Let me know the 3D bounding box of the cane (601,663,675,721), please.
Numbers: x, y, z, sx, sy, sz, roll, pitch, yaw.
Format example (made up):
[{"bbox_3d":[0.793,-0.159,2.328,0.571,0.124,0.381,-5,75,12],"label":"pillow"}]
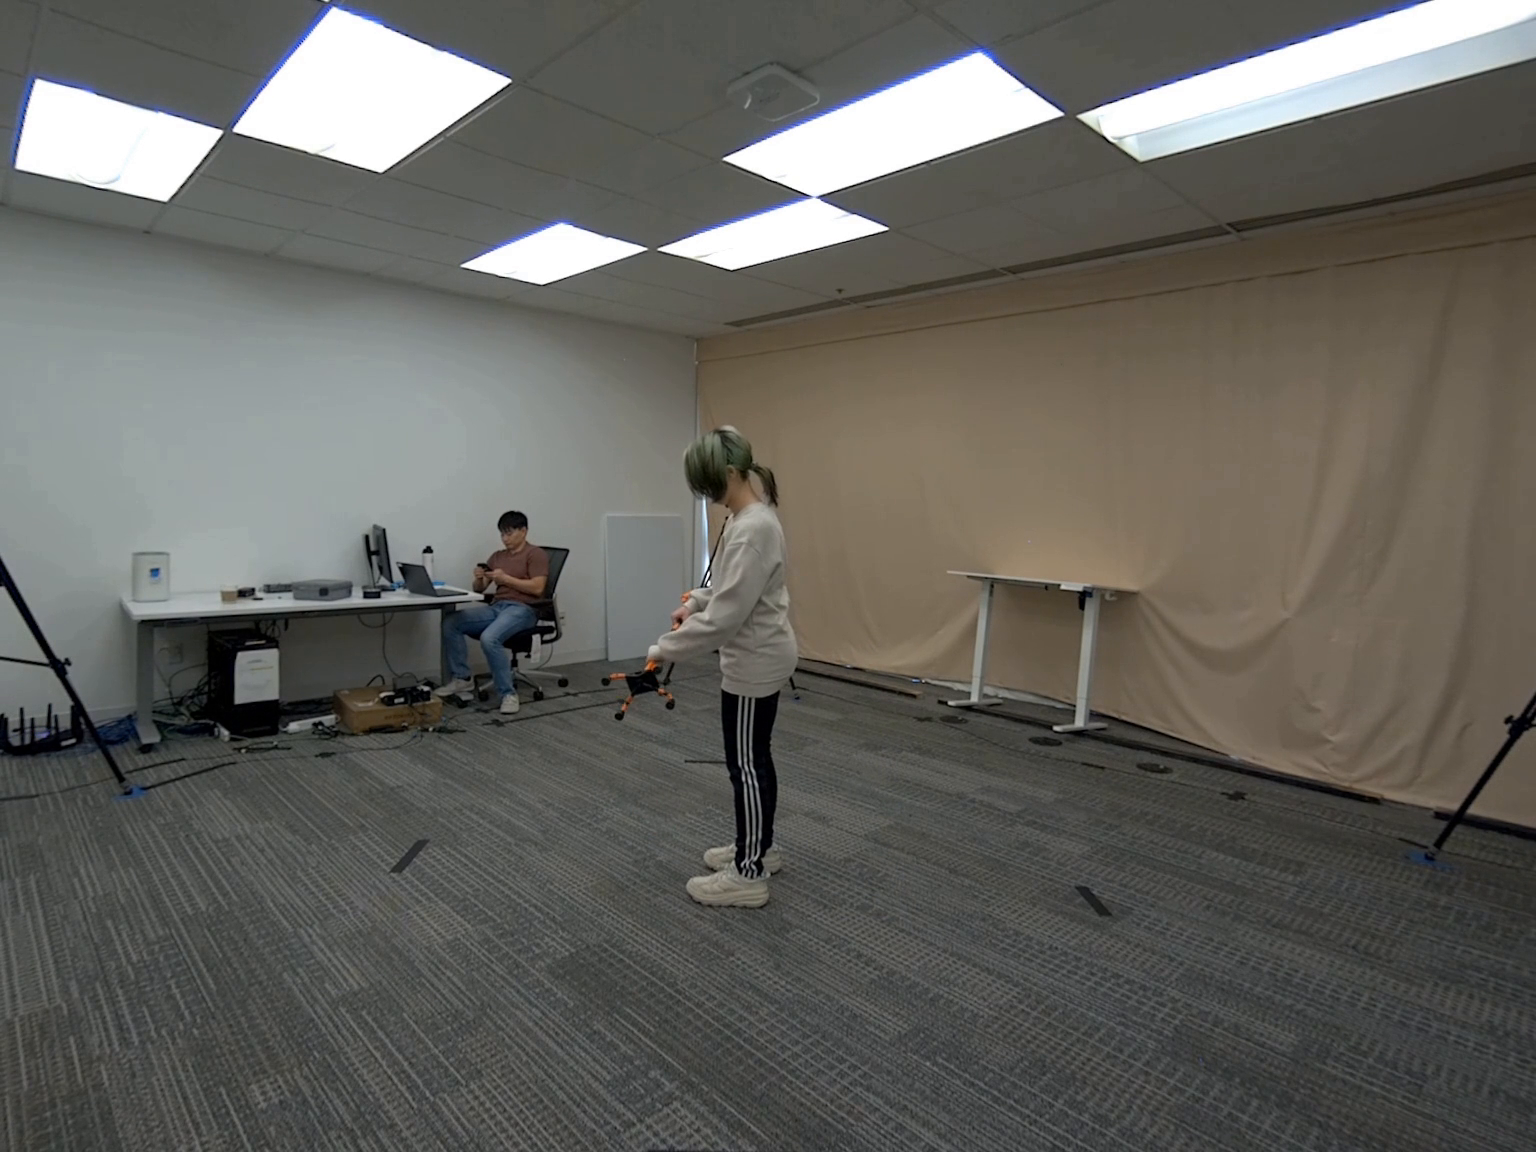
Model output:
[{"bbox_3d":[-0.358,0.230,3.051,0.208,0.149,0.913,-14,17,13],"label":"cane"}]
